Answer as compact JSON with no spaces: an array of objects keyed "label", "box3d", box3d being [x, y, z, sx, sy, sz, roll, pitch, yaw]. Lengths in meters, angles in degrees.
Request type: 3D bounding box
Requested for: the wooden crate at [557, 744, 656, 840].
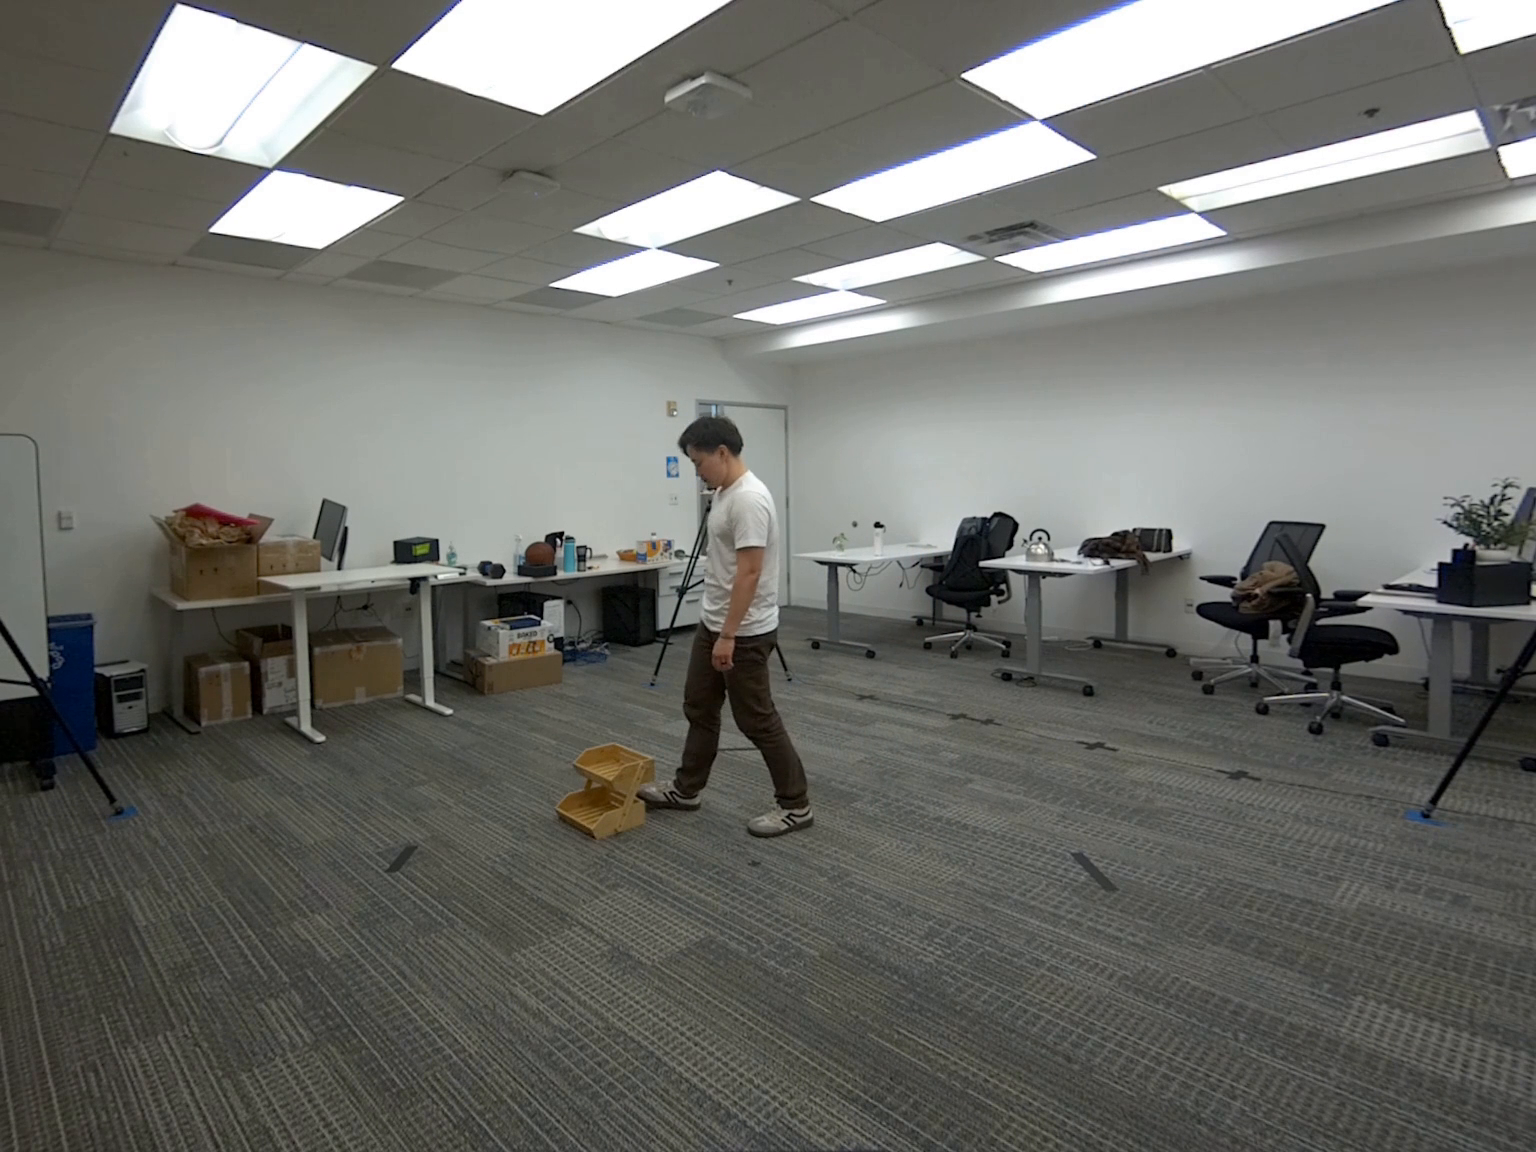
[{"label":"wooden crate","box3d":[-0.664,0.874,3.538,0.294,0.272,0.334,-4,6,-41]}]
